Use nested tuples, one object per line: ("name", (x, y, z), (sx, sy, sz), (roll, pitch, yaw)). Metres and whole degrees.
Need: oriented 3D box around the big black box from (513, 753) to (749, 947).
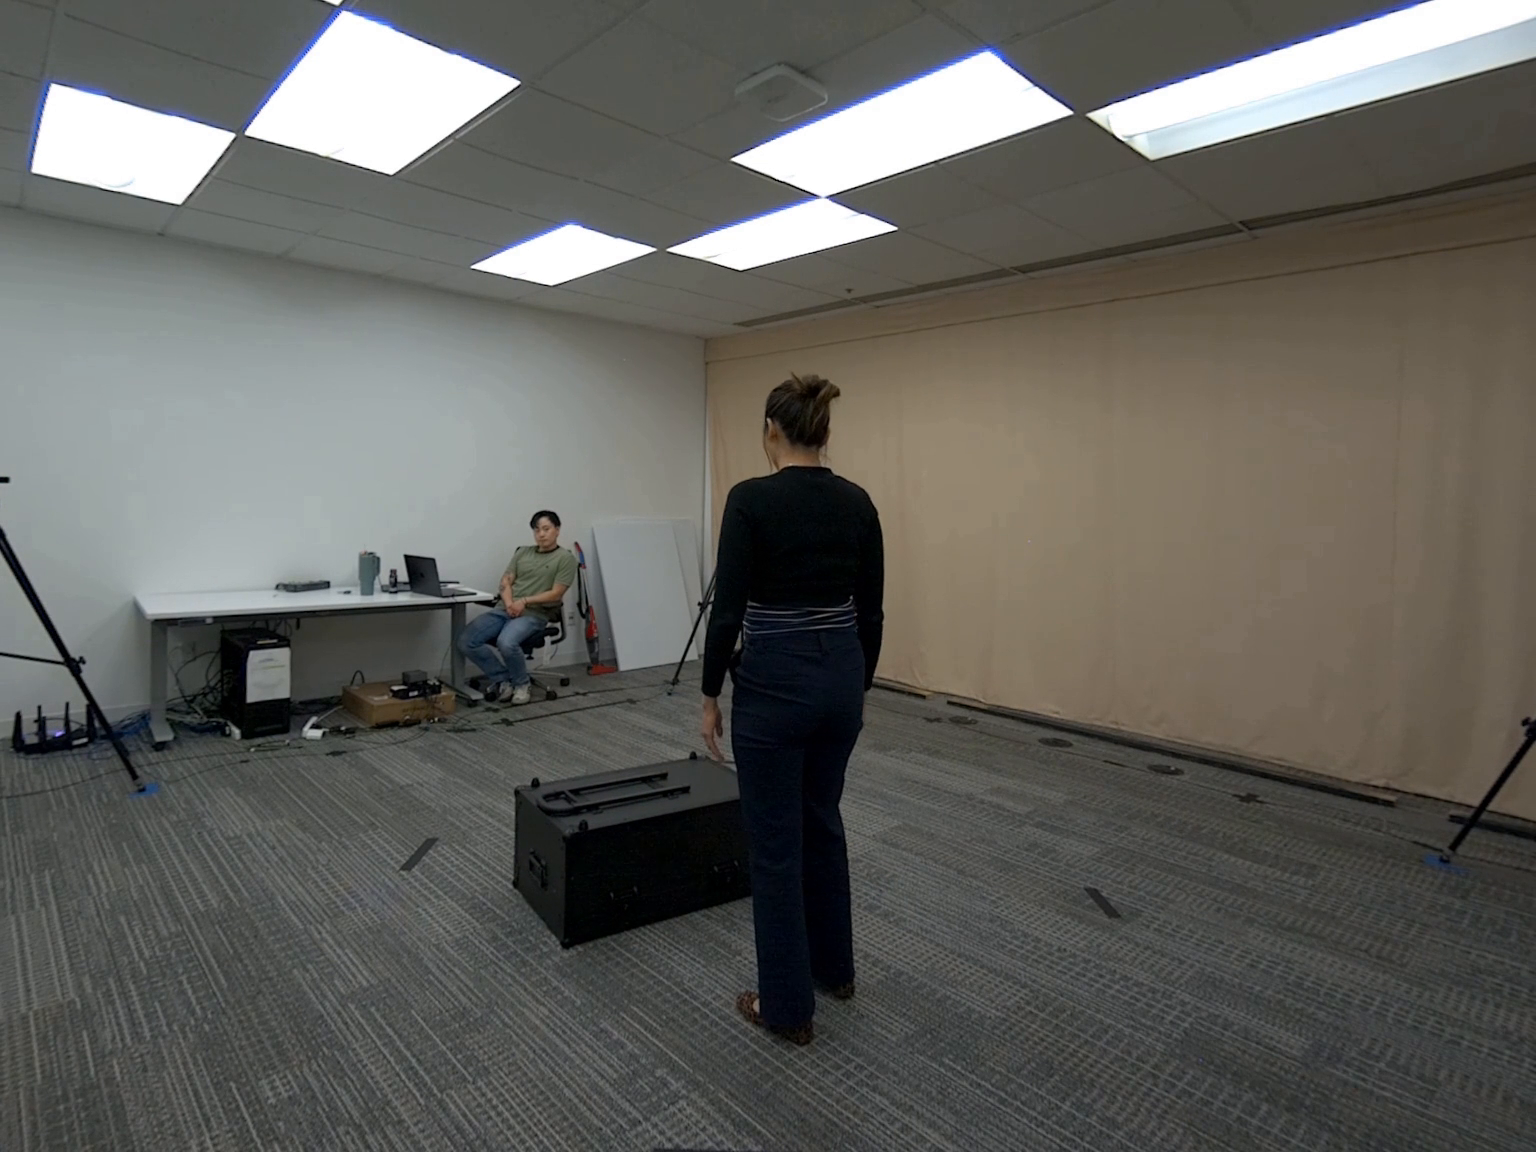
("big black box", (-0.465, 0.936, 2.951), (0.843, 0.395, 0.534), (-2, 6, -34))
